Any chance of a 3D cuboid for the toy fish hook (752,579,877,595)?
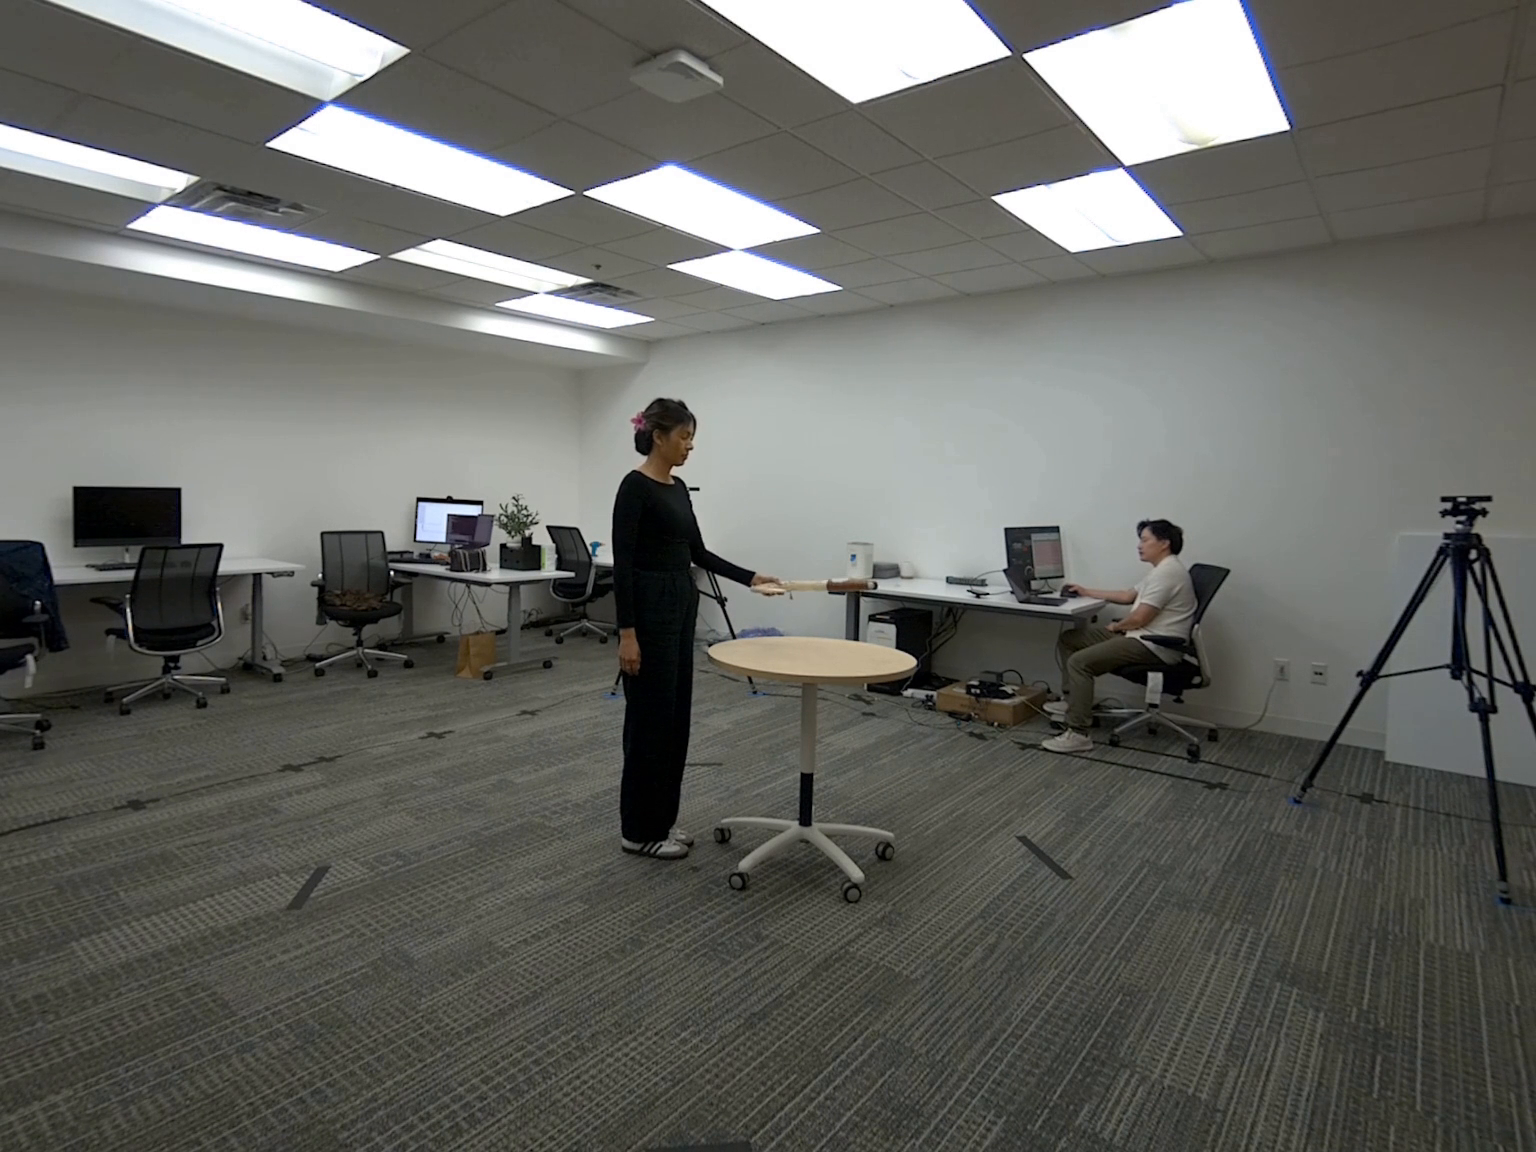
[{"bbox_3d":[0.148,0.051,3.237,0.521,0.048,0.220,-3,9,34],"label":"toy fish hook"}]
